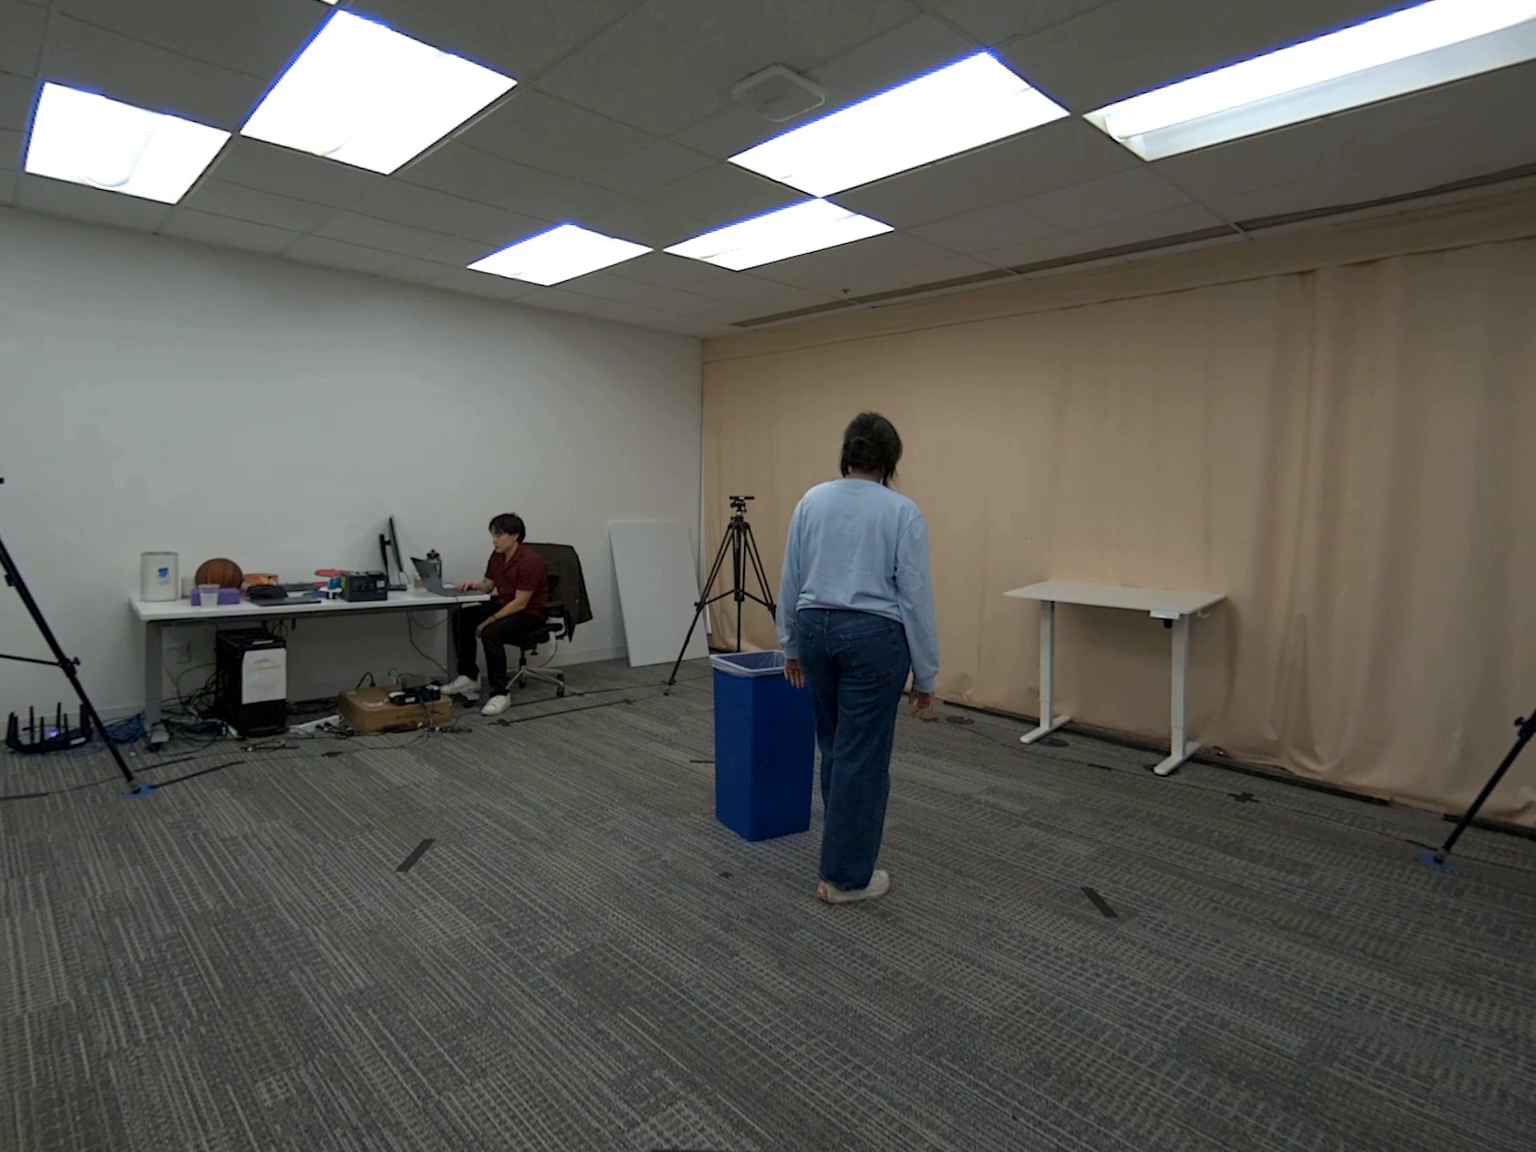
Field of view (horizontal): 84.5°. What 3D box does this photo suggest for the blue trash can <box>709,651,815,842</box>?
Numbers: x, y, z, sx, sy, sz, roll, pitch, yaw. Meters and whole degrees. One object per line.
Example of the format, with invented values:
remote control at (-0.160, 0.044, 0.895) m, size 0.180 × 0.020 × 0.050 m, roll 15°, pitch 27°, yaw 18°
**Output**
blue trash can at (-0.031, 0.708, 3.584) m, size 0.366 × 0.712 × 0.387 m, roll 0°, pitch 3°, yaw -32°
